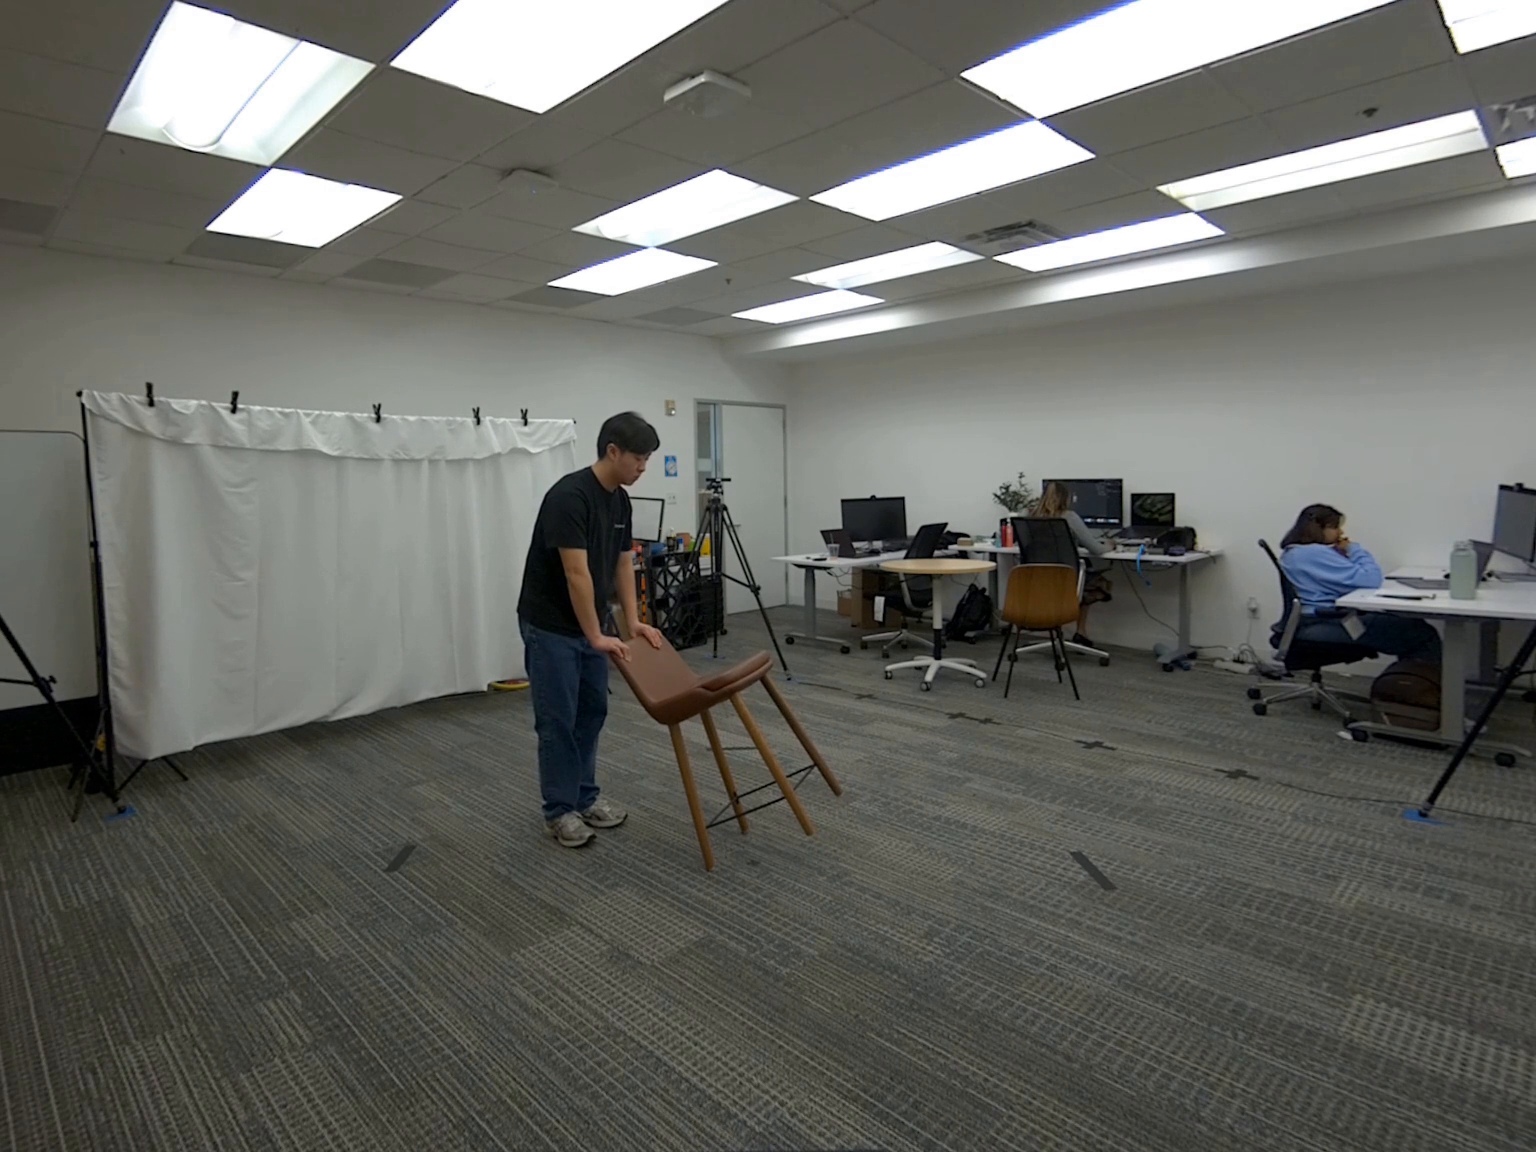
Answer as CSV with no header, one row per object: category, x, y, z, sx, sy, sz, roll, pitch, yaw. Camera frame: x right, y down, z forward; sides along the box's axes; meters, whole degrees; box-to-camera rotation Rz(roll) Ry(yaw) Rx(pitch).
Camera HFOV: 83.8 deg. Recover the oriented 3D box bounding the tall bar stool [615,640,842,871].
tall bar stool,-0.161,0.553,3.189,0.471,0.898,0.449,-30,-7,22
